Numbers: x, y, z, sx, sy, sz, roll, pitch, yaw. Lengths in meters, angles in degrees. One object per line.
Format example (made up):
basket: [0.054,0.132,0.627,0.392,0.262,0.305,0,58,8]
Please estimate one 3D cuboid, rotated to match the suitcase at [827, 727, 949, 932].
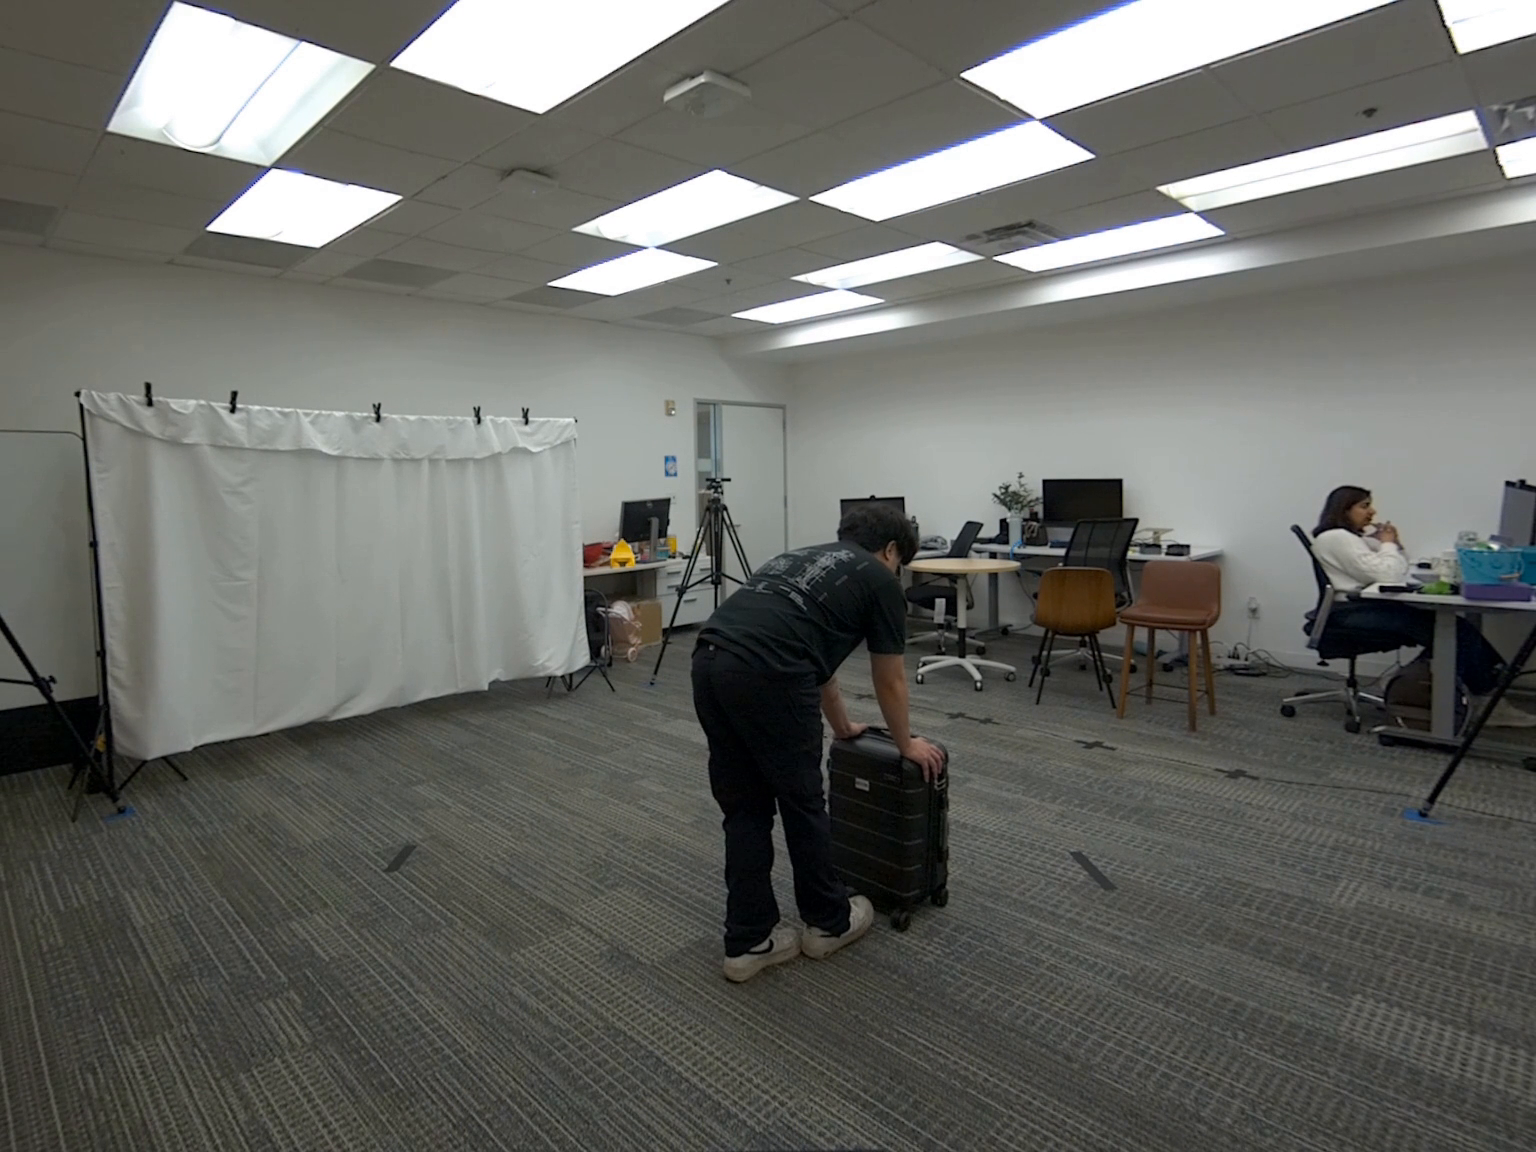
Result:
suitcase: [0.404,0.794,2.823,0.241,0.548,0.387,-1,3,-44]
